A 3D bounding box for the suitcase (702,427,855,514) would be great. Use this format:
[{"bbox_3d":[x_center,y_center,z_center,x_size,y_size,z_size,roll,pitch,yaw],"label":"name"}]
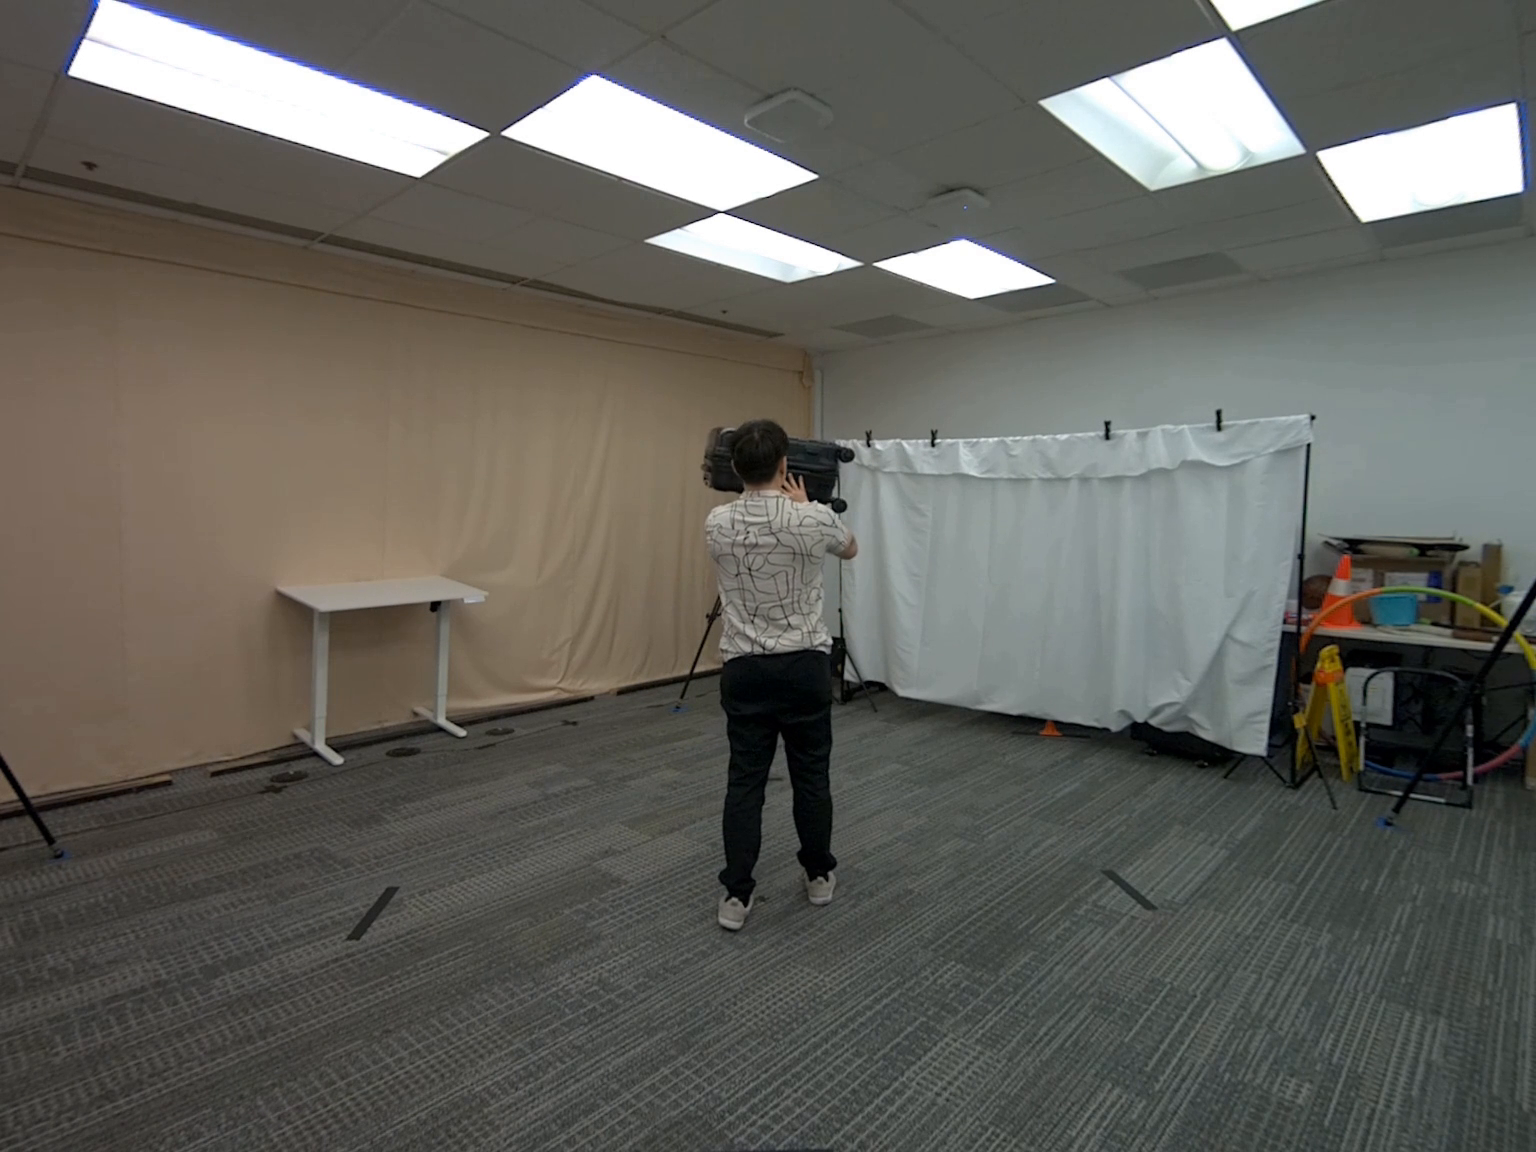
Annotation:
[{"bbox_3d":[0.026,-0.435,3.334,0.544,0.247,0.381,8,10,-9],"label":"suitcase"}]
